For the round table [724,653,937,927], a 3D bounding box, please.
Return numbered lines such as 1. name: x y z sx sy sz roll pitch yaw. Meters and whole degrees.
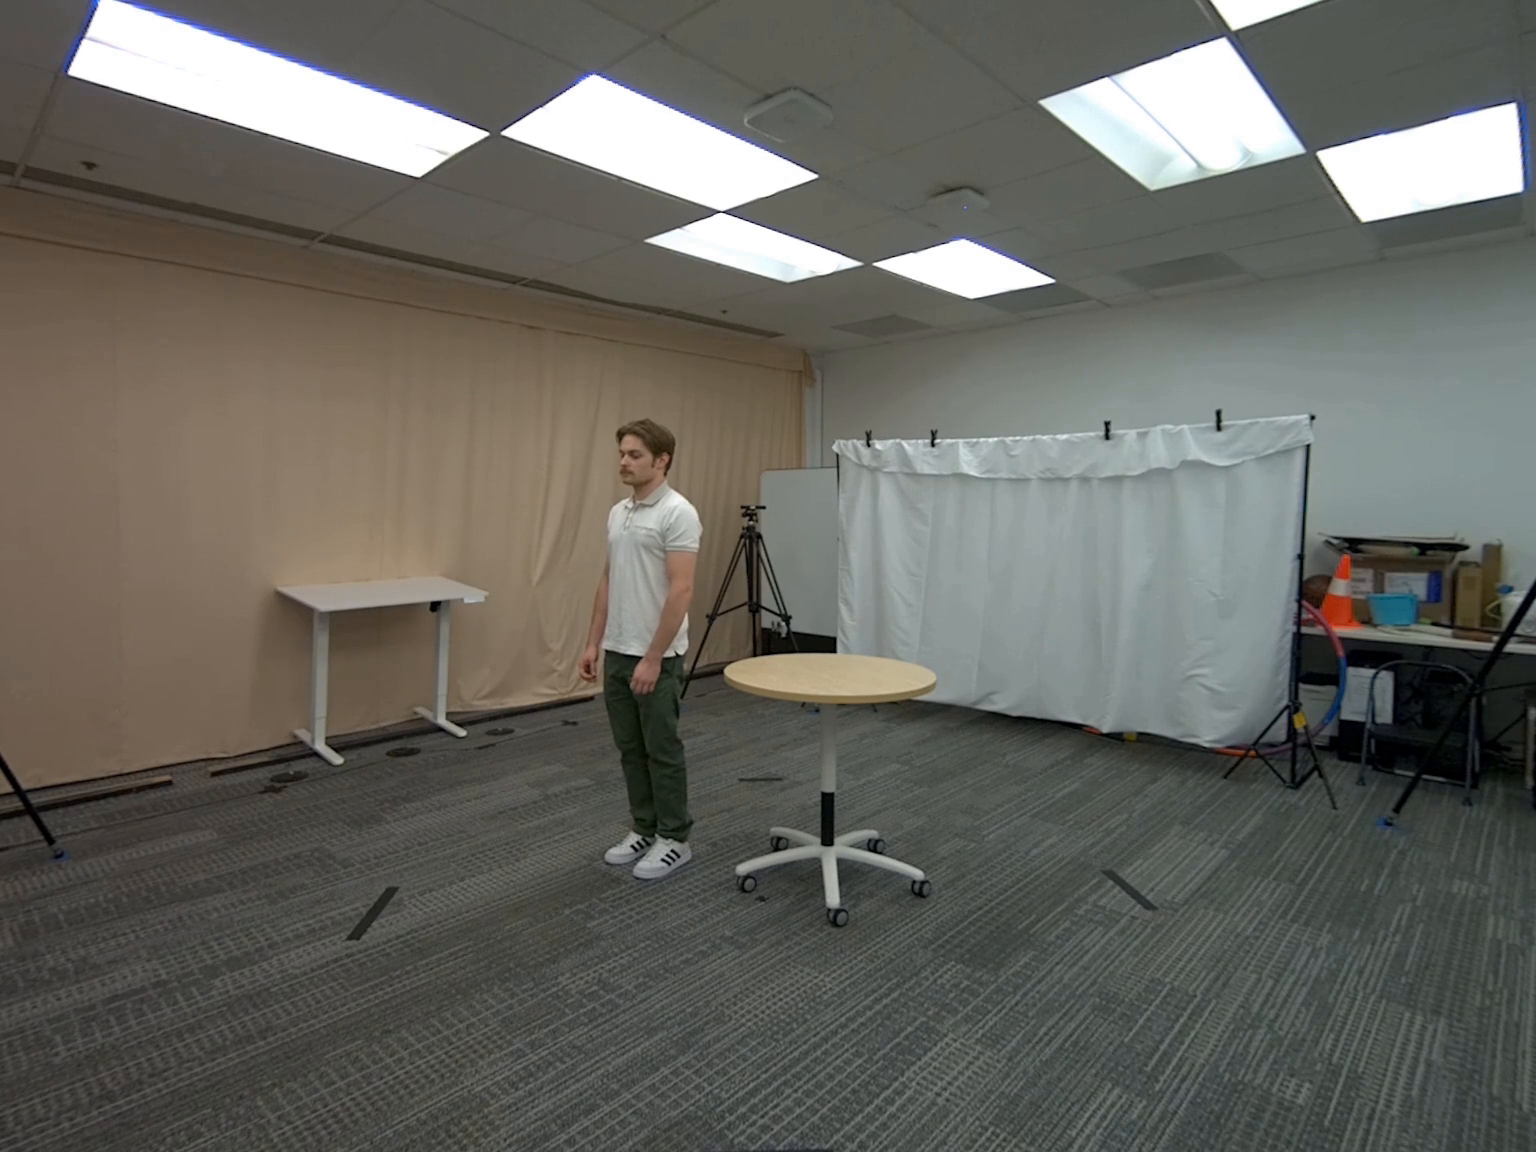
1. round table: 0.227 0.746 3.093 0.763 0.792 0.767 0 4 -2
